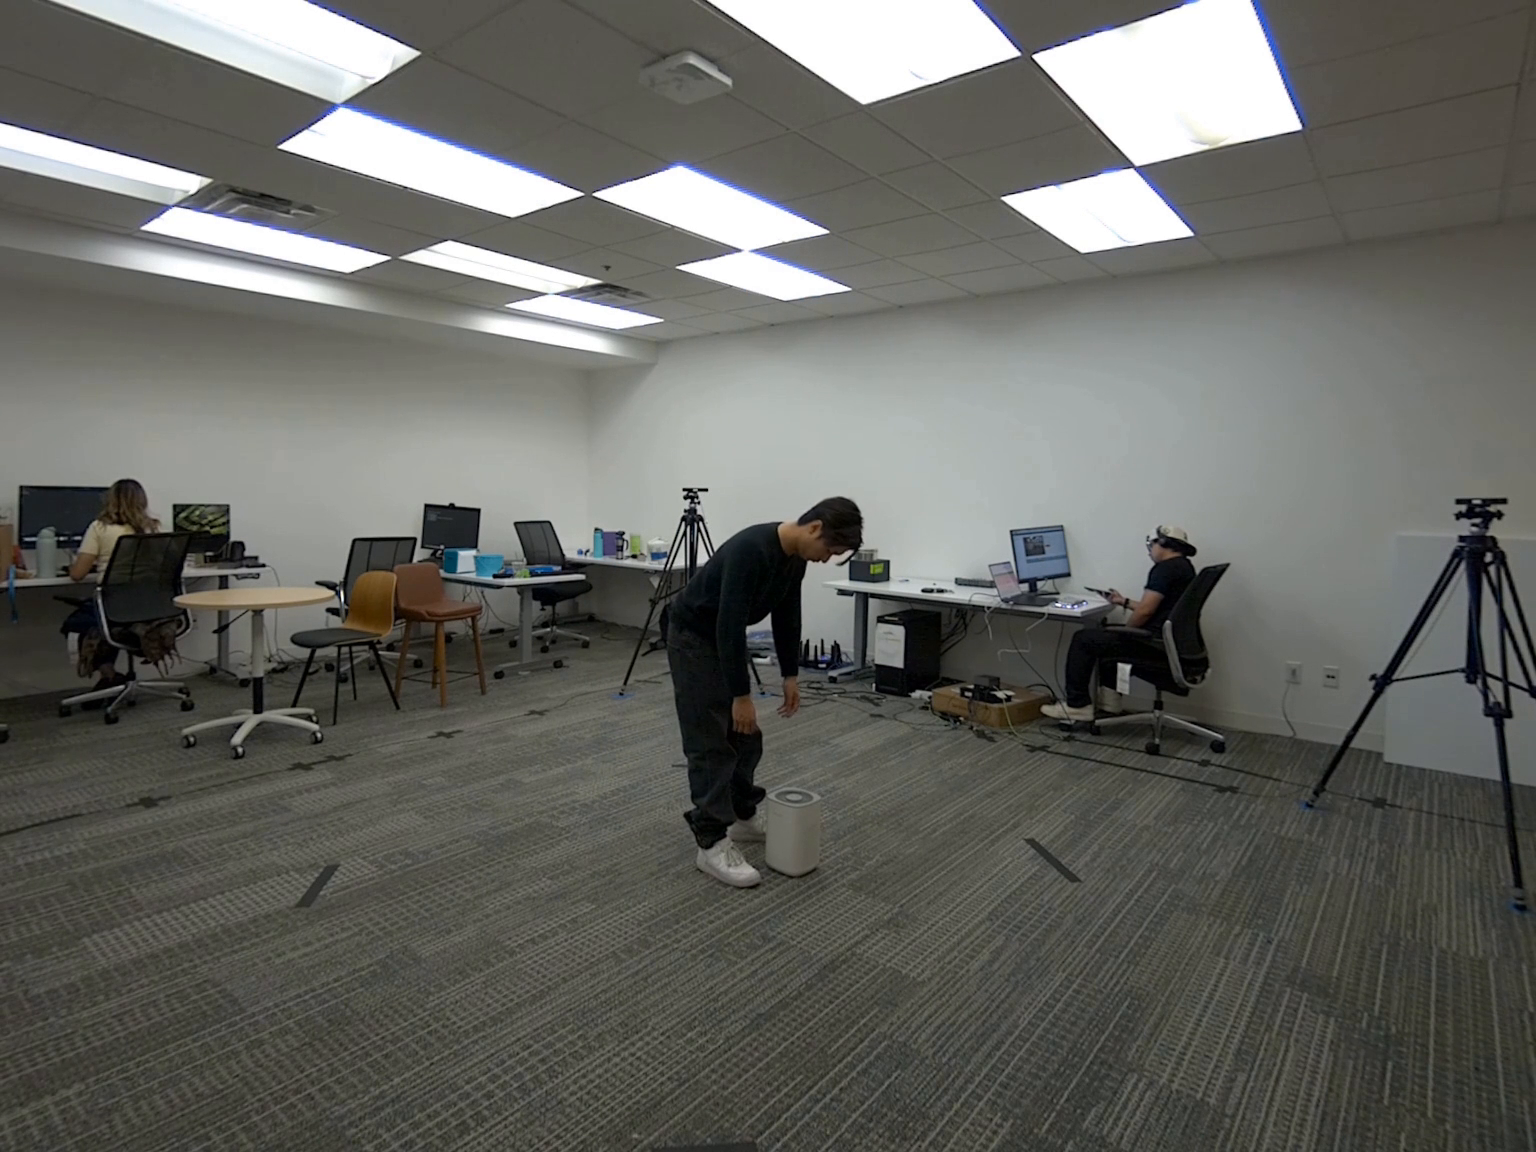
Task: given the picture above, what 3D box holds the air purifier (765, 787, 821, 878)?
[{"bbox_3d":[0.084,0.943,3.141,0.177,0.265,0.166,5,4,40],"label":"air purifier"}]
